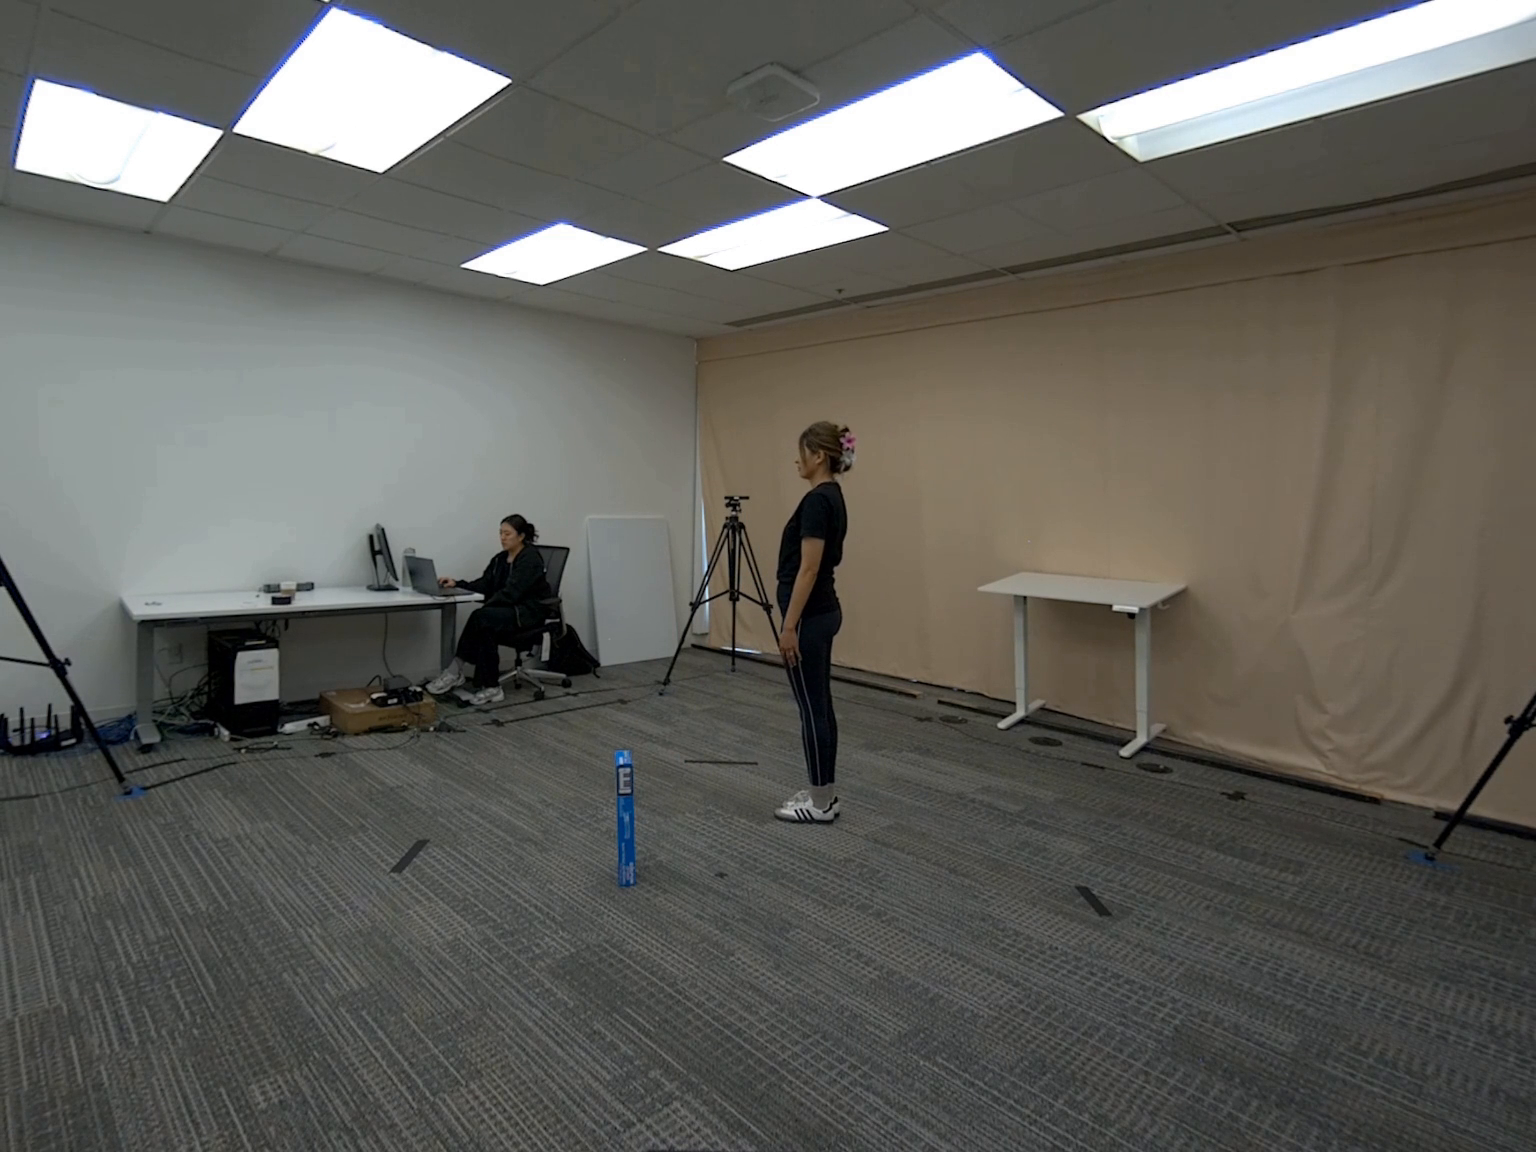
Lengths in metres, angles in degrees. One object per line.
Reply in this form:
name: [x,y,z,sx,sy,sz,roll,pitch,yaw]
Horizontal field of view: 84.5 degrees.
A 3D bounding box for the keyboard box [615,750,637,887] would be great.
keyboard box: [-0.528,0.880,3.069,0.058,0.435,0.178,-2,4,-11]
